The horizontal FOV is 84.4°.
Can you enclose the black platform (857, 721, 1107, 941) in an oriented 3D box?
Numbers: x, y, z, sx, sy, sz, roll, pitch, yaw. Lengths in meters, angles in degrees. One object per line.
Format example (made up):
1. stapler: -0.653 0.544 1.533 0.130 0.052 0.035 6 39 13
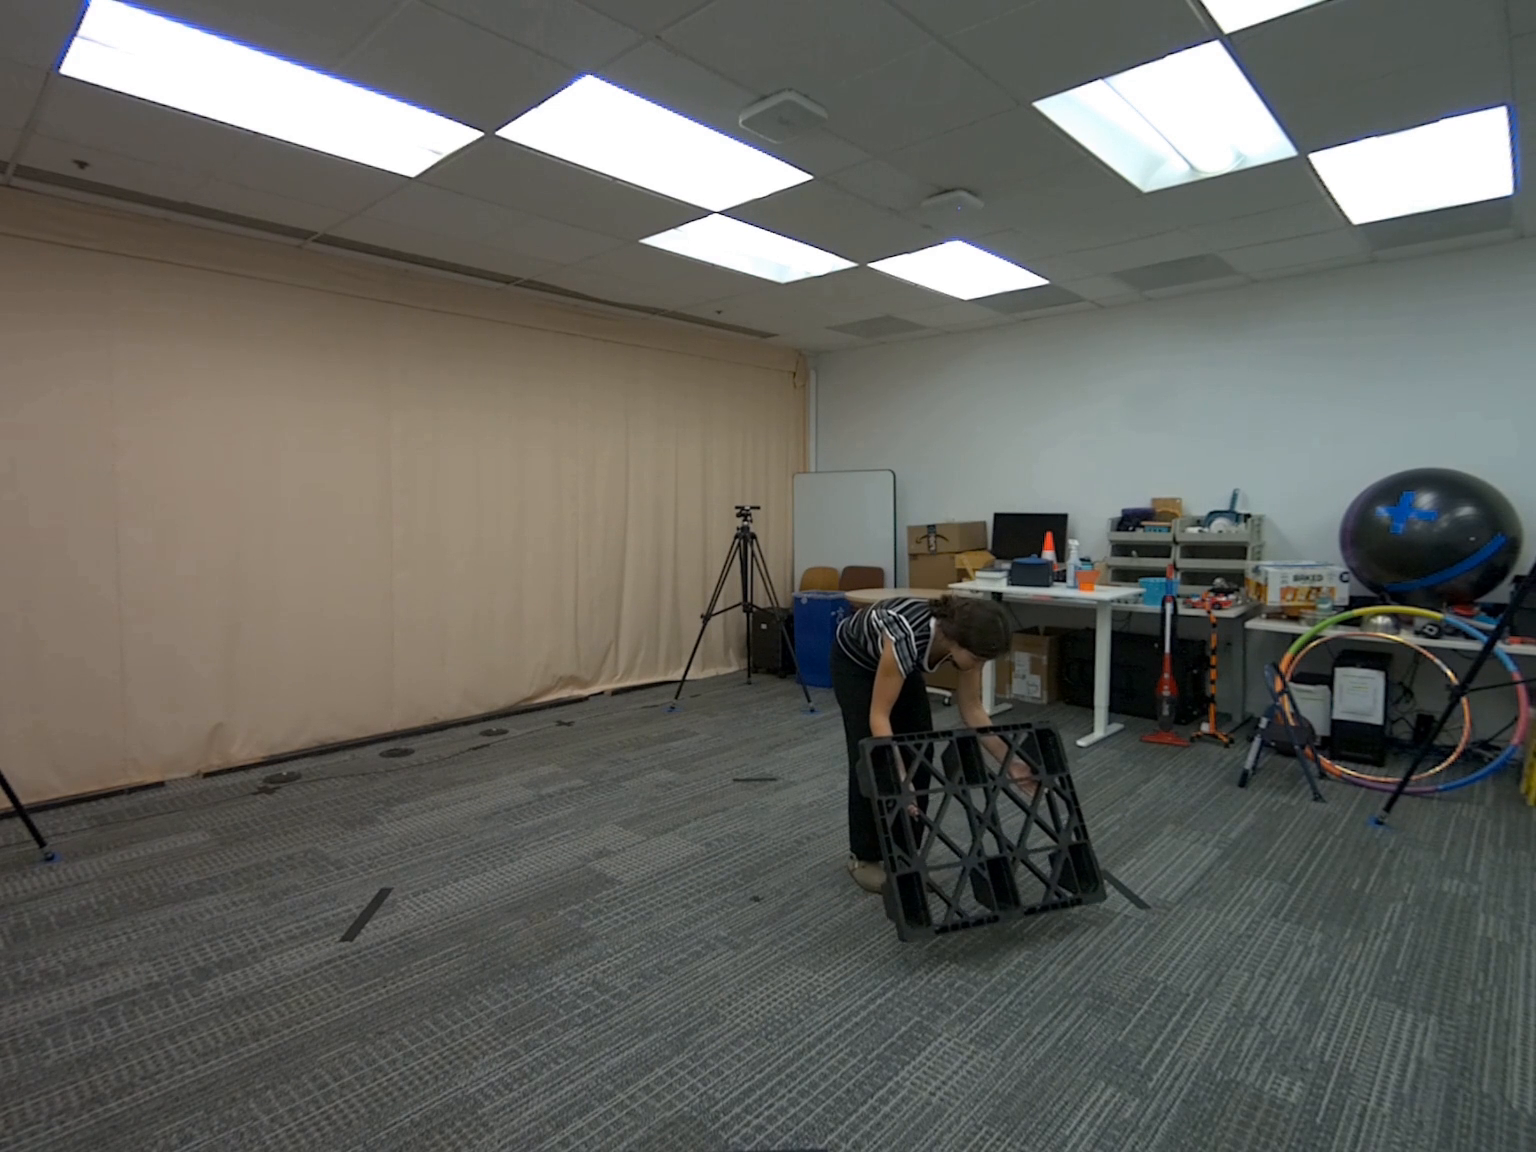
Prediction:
1. black platform: 0.692 0.818 2.773 0.787 0.615 0.144 -1 -23 -23
